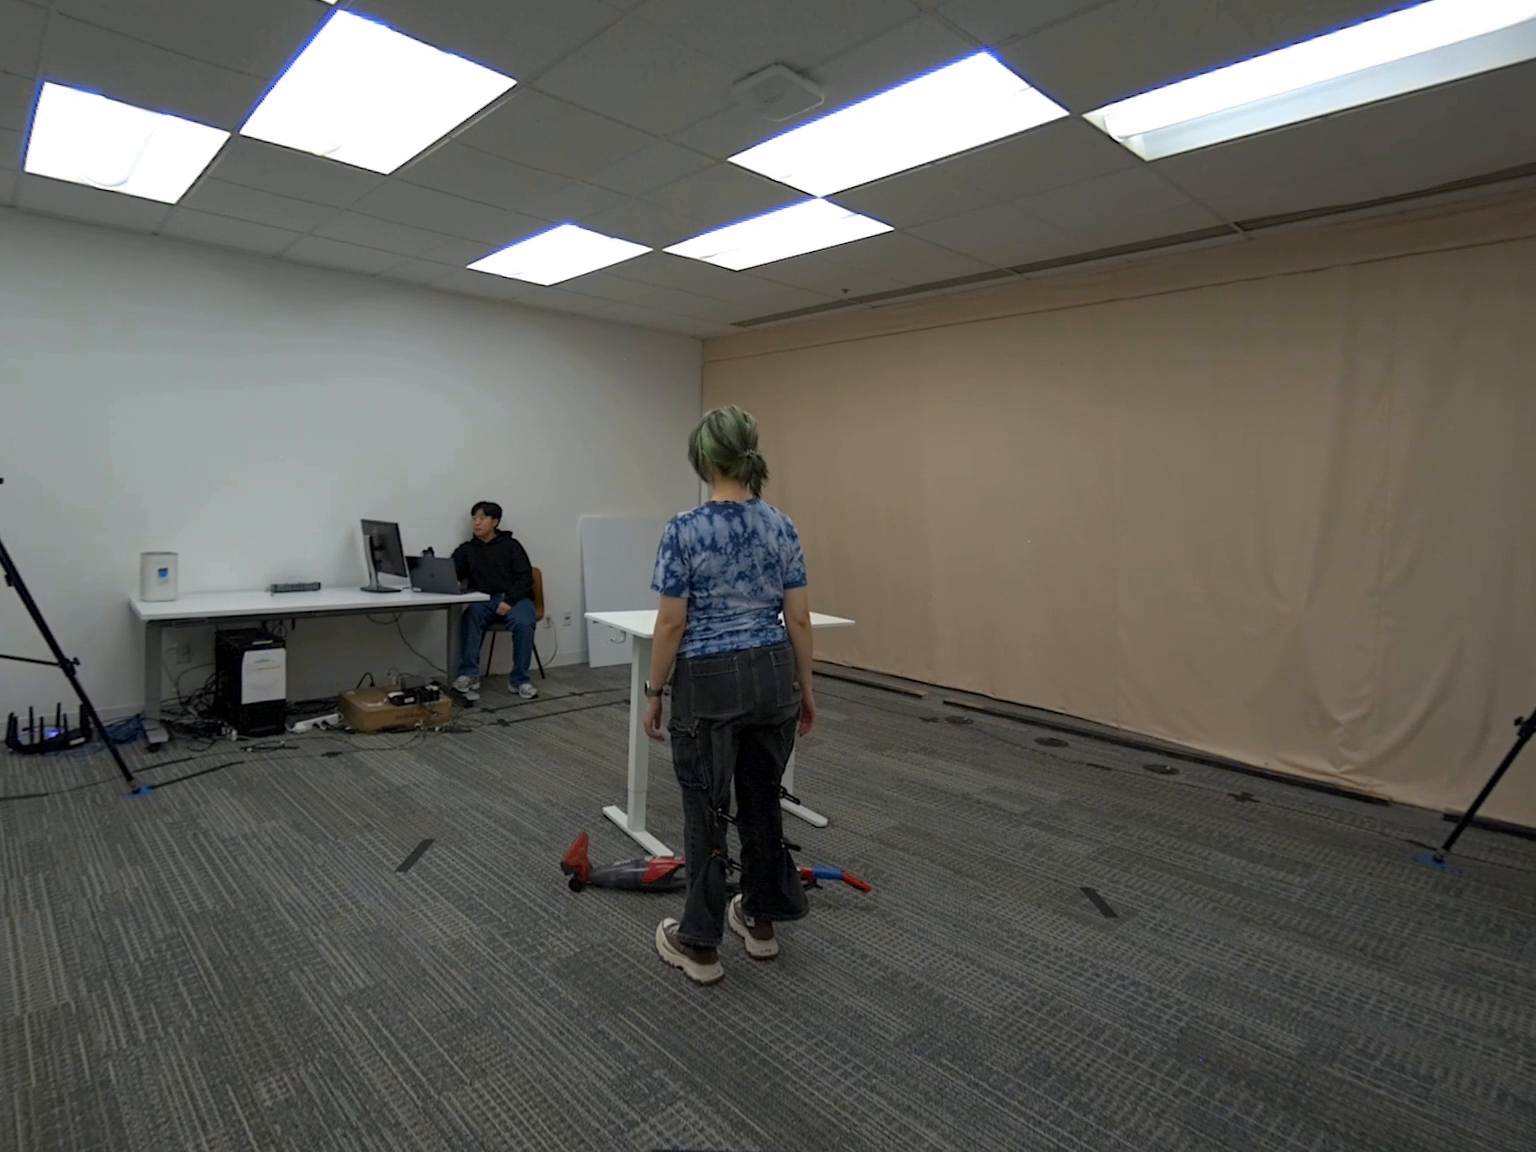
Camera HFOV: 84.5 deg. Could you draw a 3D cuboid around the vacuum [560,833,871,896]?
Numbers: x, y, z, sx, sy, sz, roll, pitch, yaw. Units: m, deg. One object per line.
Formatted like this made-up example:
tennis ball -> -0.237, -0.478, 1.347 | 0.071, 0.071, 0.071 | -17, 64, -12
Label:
vacuum -> -0.179, 1.056, 2.946 | 1.054, 0.143, 0.252 | 3, 5, 5
